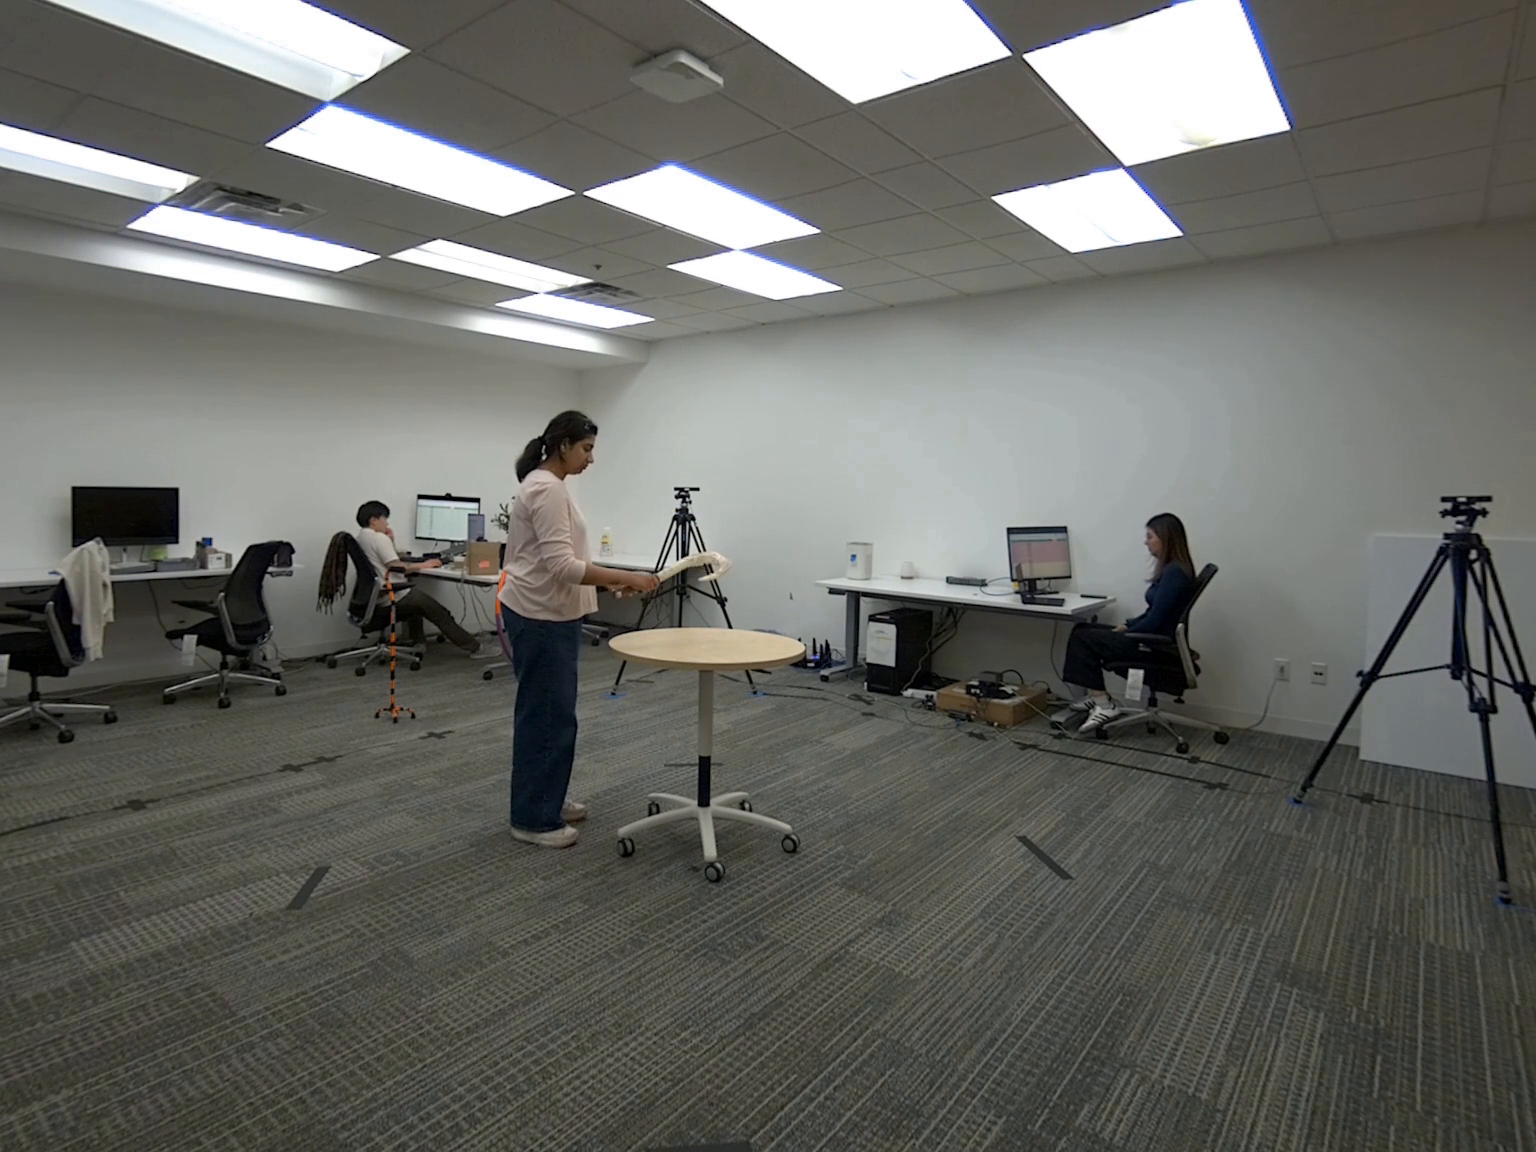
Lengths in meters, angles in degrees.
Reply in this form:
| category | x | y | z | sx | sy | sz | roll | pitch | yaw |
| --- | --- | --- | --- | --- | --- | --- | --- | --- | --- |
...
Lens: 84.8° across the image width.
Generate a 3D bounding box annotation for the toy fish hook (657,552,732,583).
| category | x | y | z | sx | sy | sz | roll | pitch | yaw |
| --- | --- | --- | --- | --- | --- | --- | --- | --- | --- |
| toy fish hook | -0.399 | 0.011 | 3.348 | 0.499 | 0.047 | 0.233 | -23 | 28 | -27 |
